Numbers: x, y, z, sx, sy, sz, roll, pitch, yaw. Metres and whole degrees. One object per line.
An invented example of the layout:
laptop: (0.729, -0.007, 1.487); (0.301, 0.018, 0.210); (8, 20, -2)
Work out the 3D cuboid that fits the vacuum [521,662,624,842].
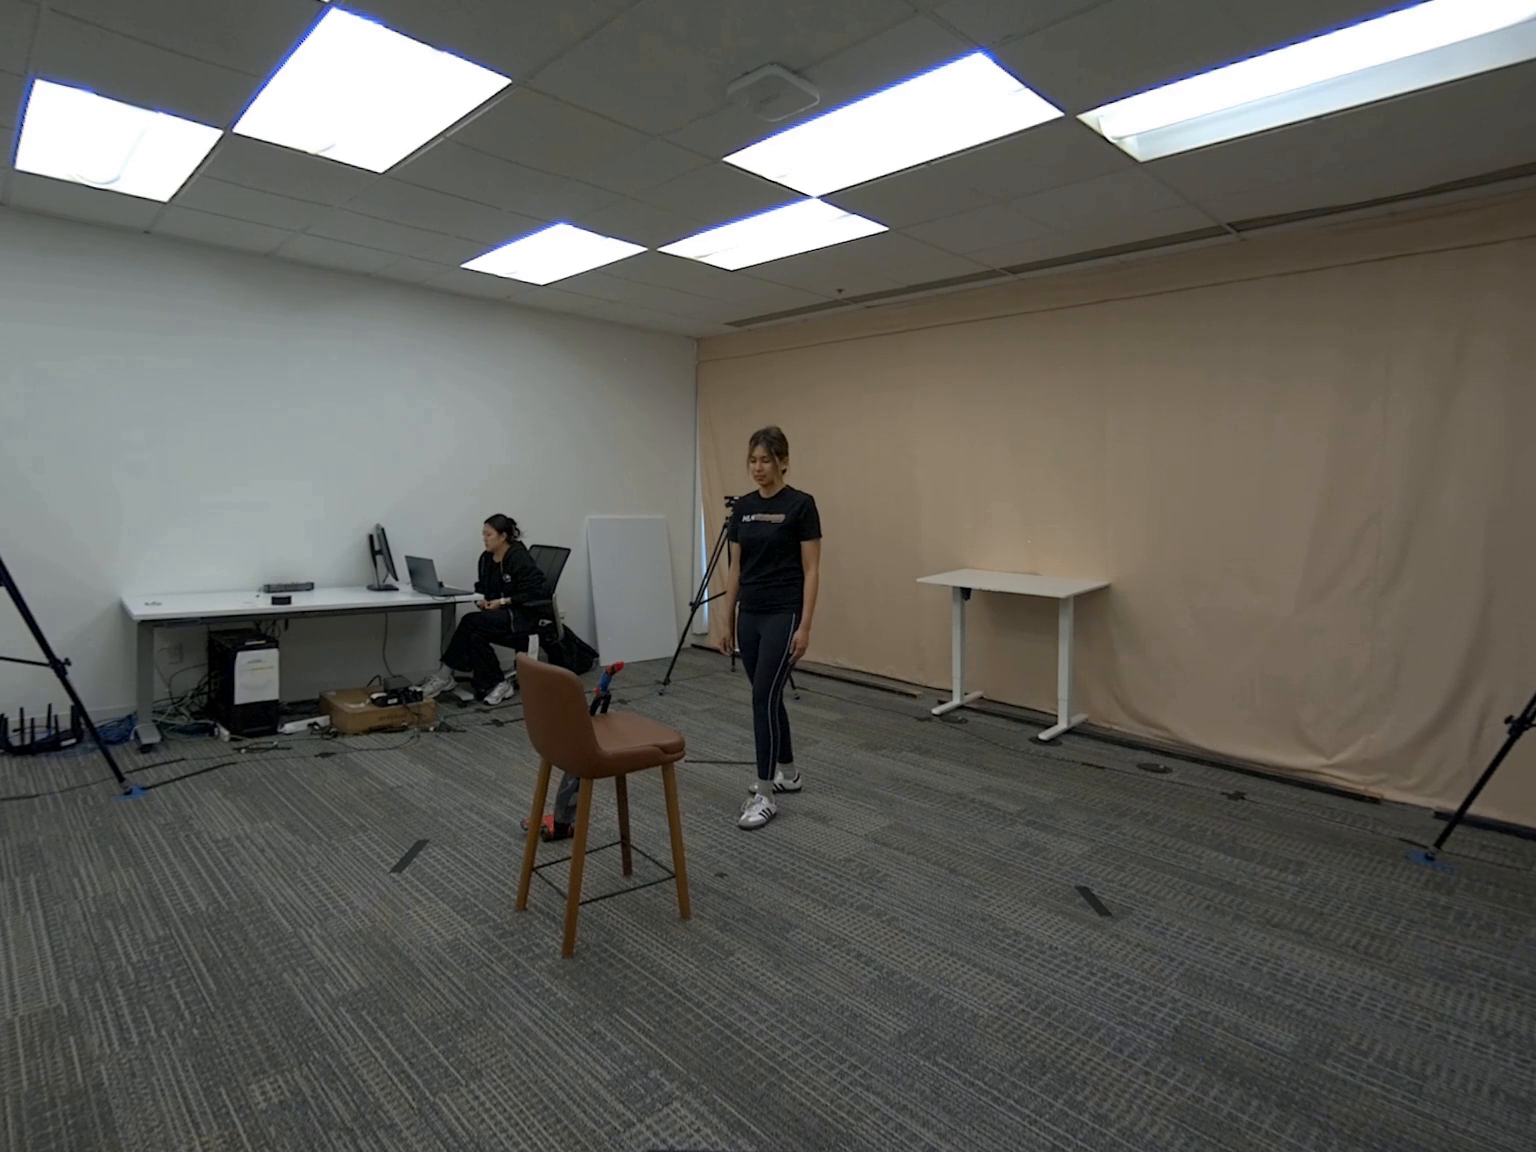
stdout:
vacuum: (-0.702, 0.671, 3.146); (0.247, 1.040, 0.148); (-5, 47, -35)
